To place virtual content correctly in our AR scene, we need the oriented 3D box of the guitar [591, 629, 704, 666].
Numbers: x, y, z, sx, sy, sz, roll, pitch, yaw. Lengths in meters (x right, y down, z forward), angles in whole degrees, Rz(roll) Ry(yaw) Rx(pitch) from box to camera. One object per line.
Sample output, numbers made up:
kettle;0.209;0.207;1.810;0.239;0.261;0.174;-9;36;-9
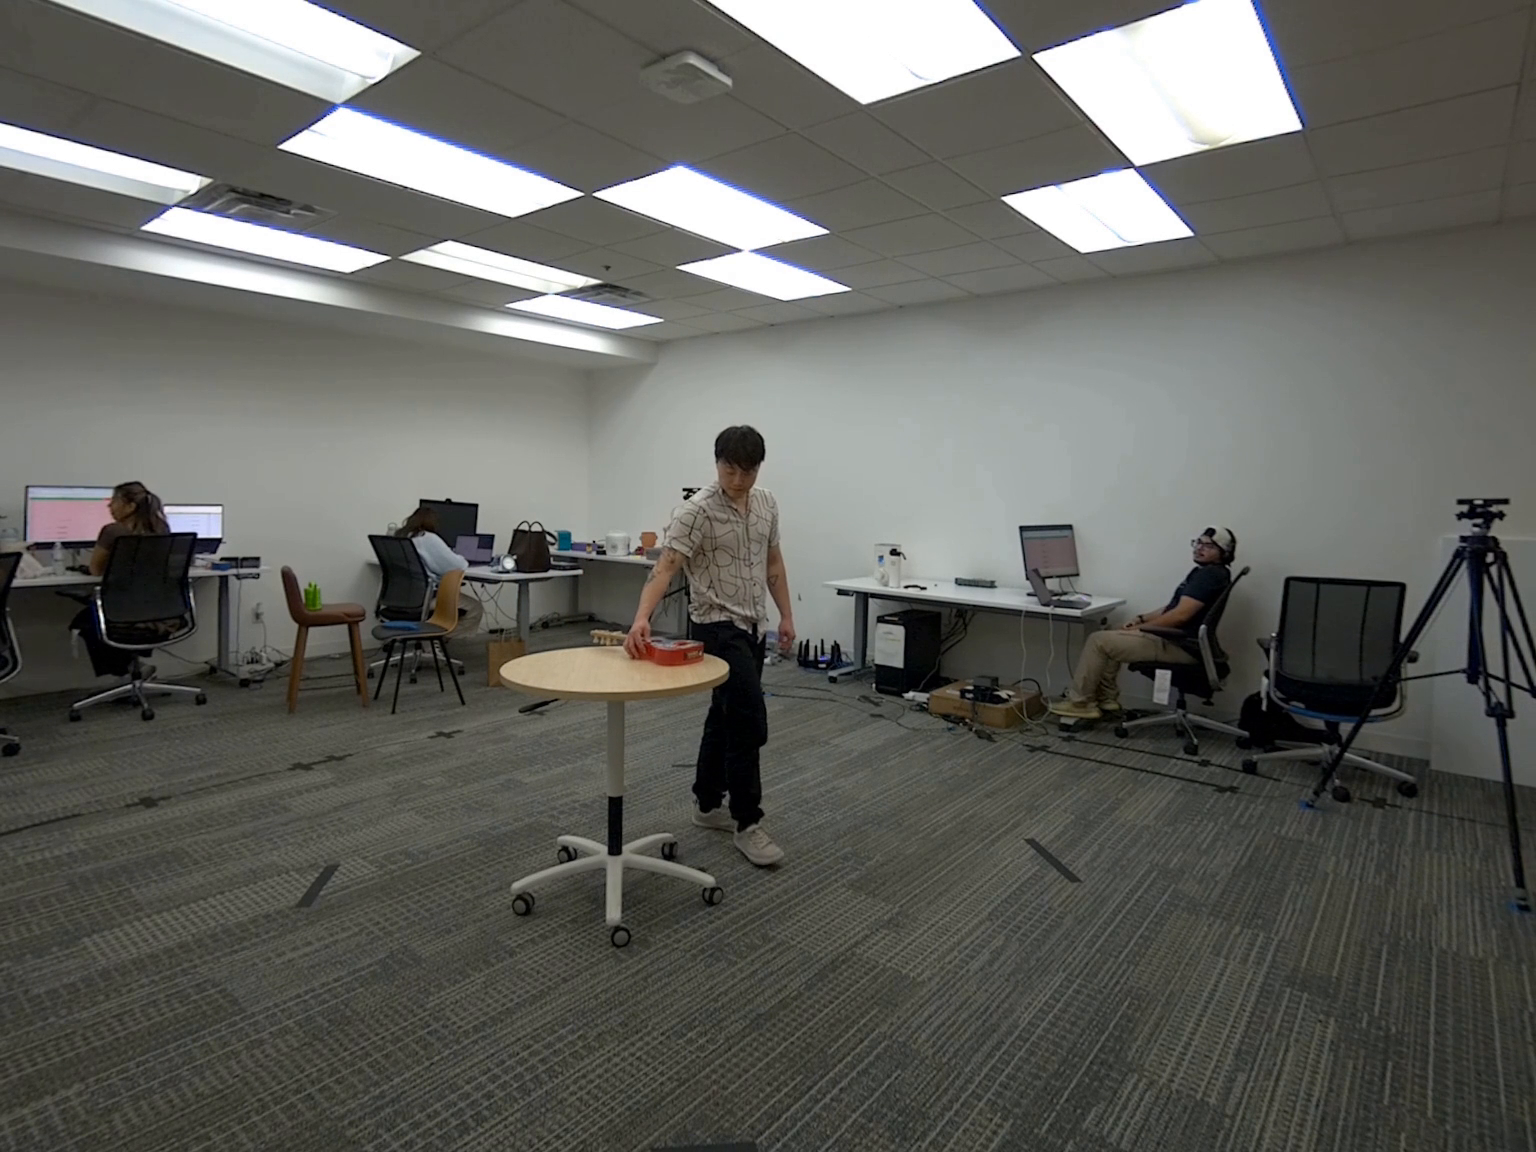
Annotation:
guitar;-0.451;0.250;3.099;0.187;0.070;0.515;-5;8;-43
